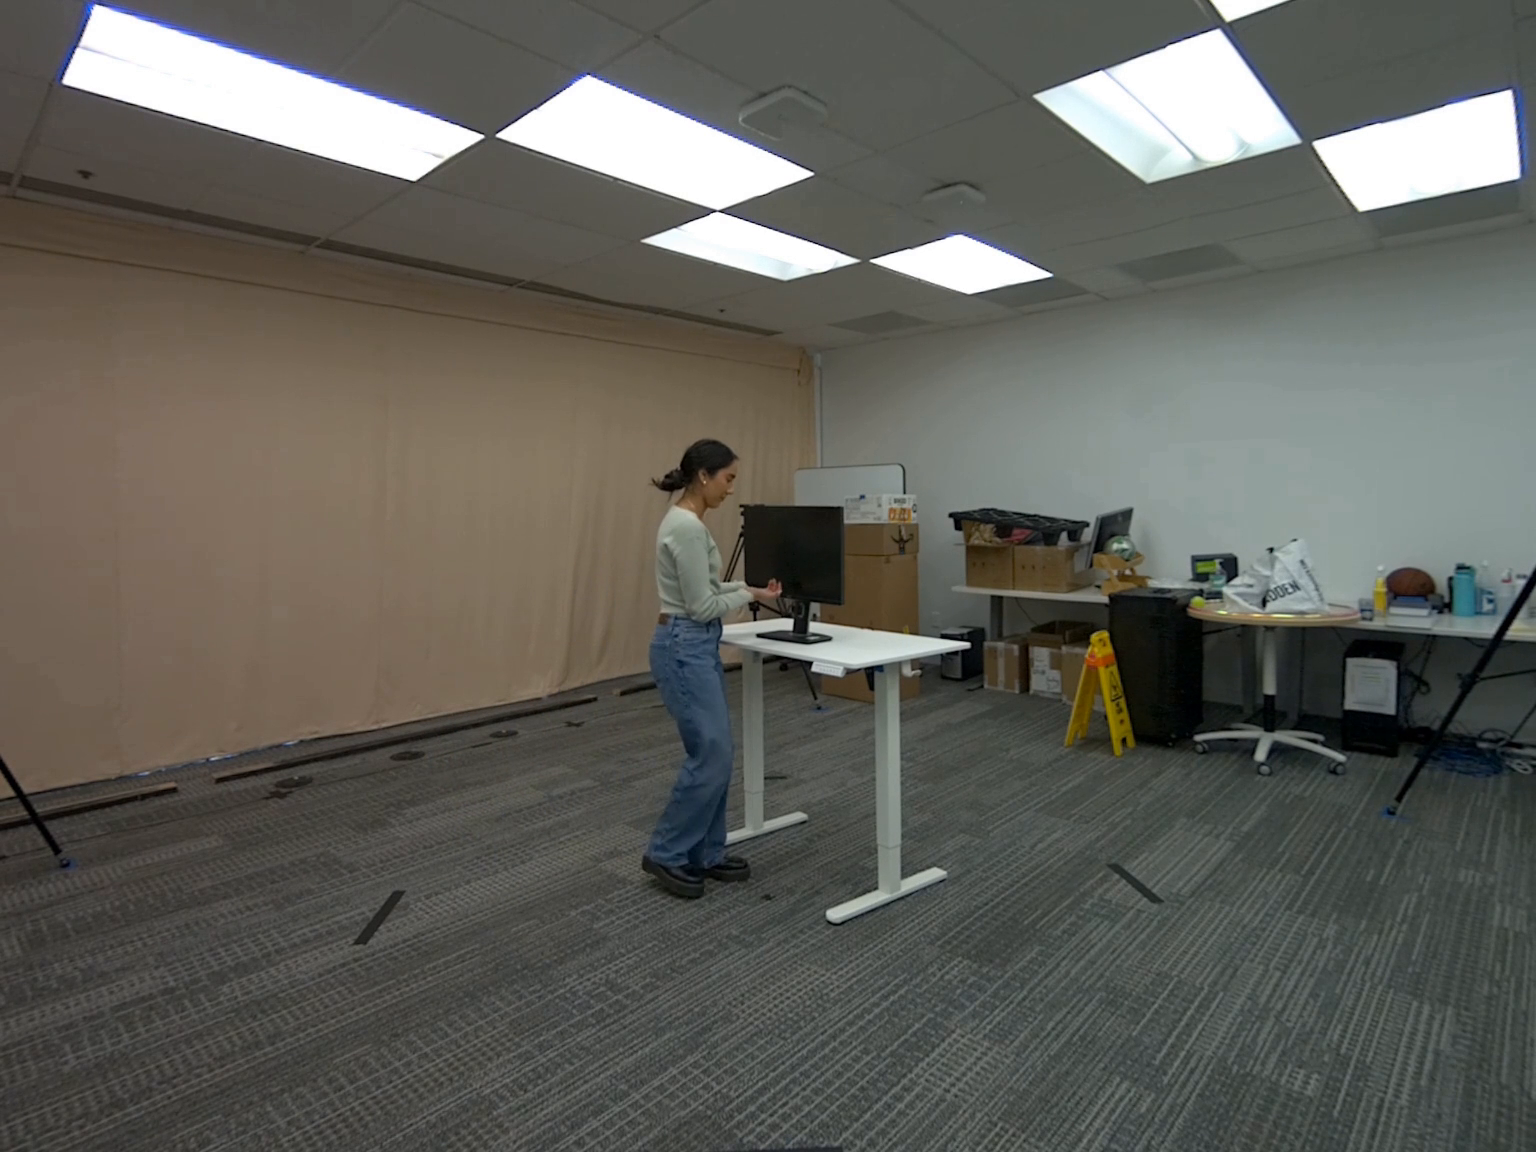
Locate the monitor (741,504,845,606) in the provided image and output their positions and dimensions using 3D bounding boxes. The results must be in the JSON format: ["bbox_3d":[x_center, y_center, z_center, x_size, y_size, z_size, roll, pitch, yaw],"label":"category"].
[{"bbox_3d":[0.108,-0.007,3.186,0.182,0.520,0.557,-10,10,-42],"label":"monitor"}]
